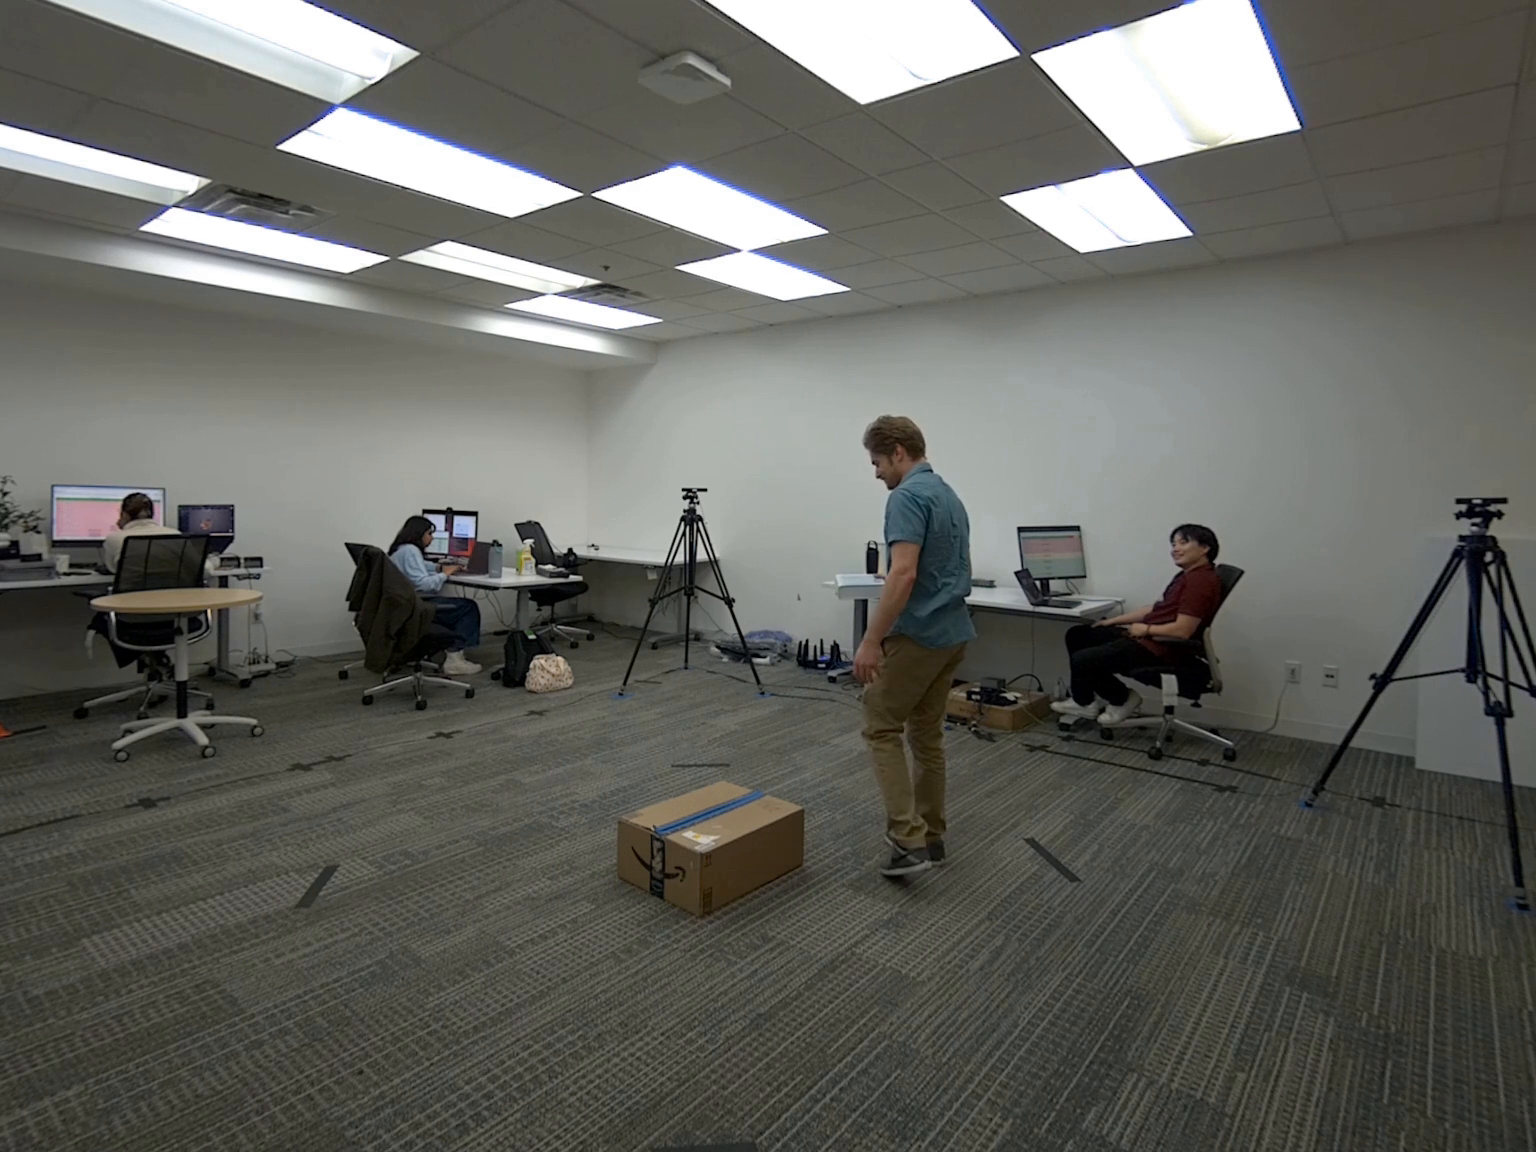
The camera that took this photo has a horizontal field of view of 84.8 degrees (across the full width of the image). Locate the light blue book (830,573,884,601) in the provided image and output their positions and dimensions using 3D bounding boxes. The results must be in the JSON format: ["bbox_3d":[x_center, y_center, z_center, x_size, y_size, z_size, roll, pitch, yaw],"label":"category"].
[{"bbox_3d":[0.379,0.038,3.526,0.191,0.058,0.263,-2,10,-1],"label":"light blue book"}]
